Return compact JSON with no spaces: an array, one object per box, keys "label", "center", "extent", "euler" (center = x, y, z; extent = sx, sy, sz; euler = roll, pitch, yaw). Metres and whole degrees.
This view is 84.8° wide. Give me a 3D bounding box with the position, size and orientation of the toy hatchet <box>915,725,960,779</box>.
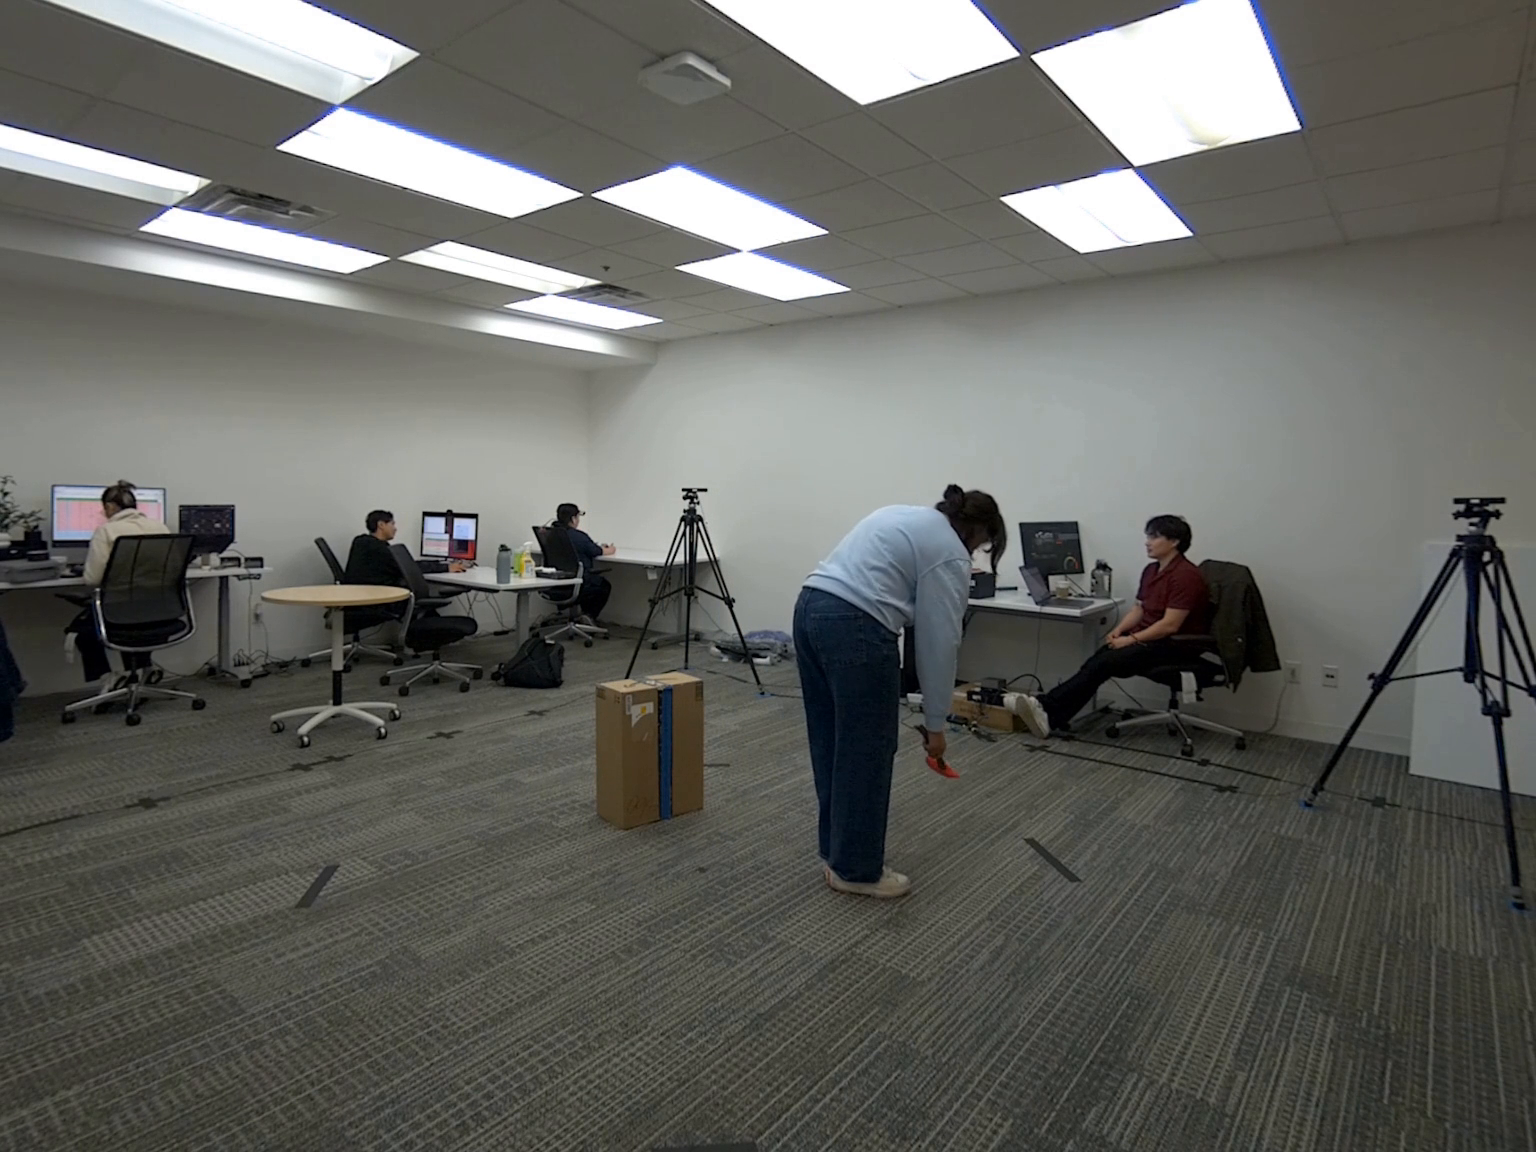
[{"label":"toy hatchet","center":[0.558,0.616,2.977],"extent":[0.029,0.263,0.134],"euler":[-47,20,-24]}]
